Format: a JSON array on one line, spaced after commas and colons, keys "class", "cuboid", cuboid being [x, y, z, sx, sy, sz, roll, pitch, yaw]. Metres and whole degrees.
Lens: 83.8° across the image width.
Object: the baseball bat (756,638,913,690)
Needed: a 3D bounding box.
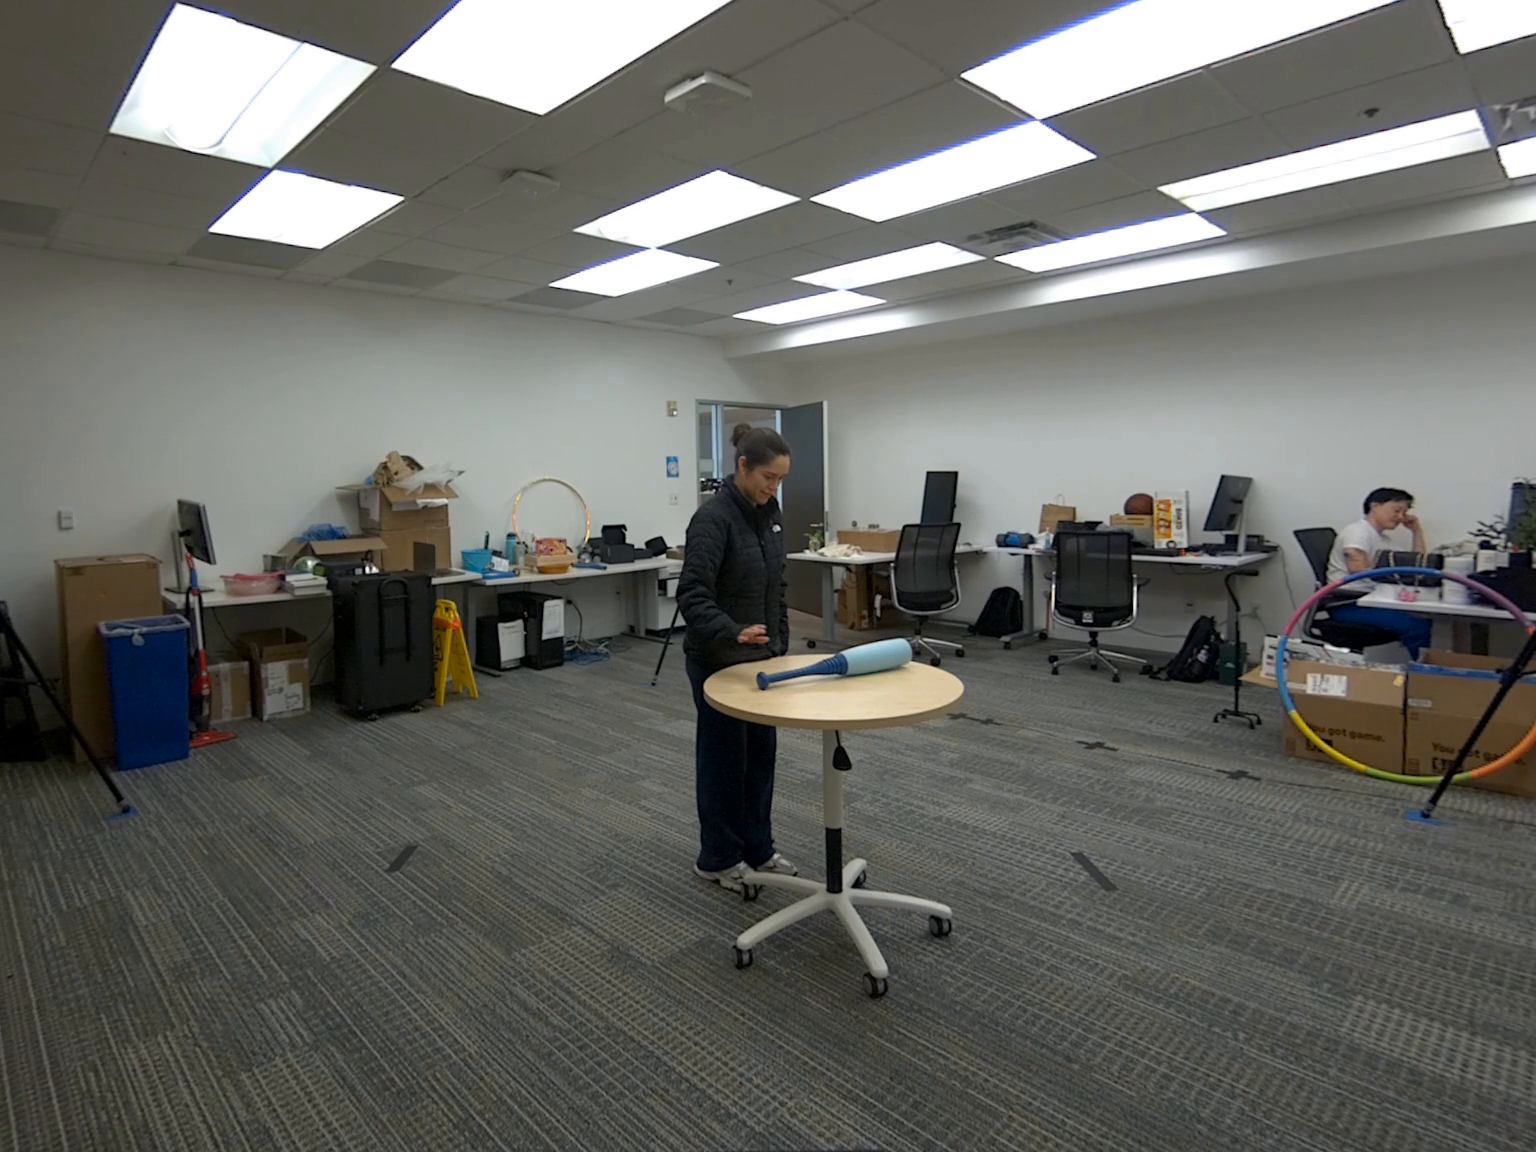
[{"class": "baseball bat", "cuboid": [0.201, 0.275, 2.627, 0.532, 0.088, 0.091, -8, 8, -27]}]
